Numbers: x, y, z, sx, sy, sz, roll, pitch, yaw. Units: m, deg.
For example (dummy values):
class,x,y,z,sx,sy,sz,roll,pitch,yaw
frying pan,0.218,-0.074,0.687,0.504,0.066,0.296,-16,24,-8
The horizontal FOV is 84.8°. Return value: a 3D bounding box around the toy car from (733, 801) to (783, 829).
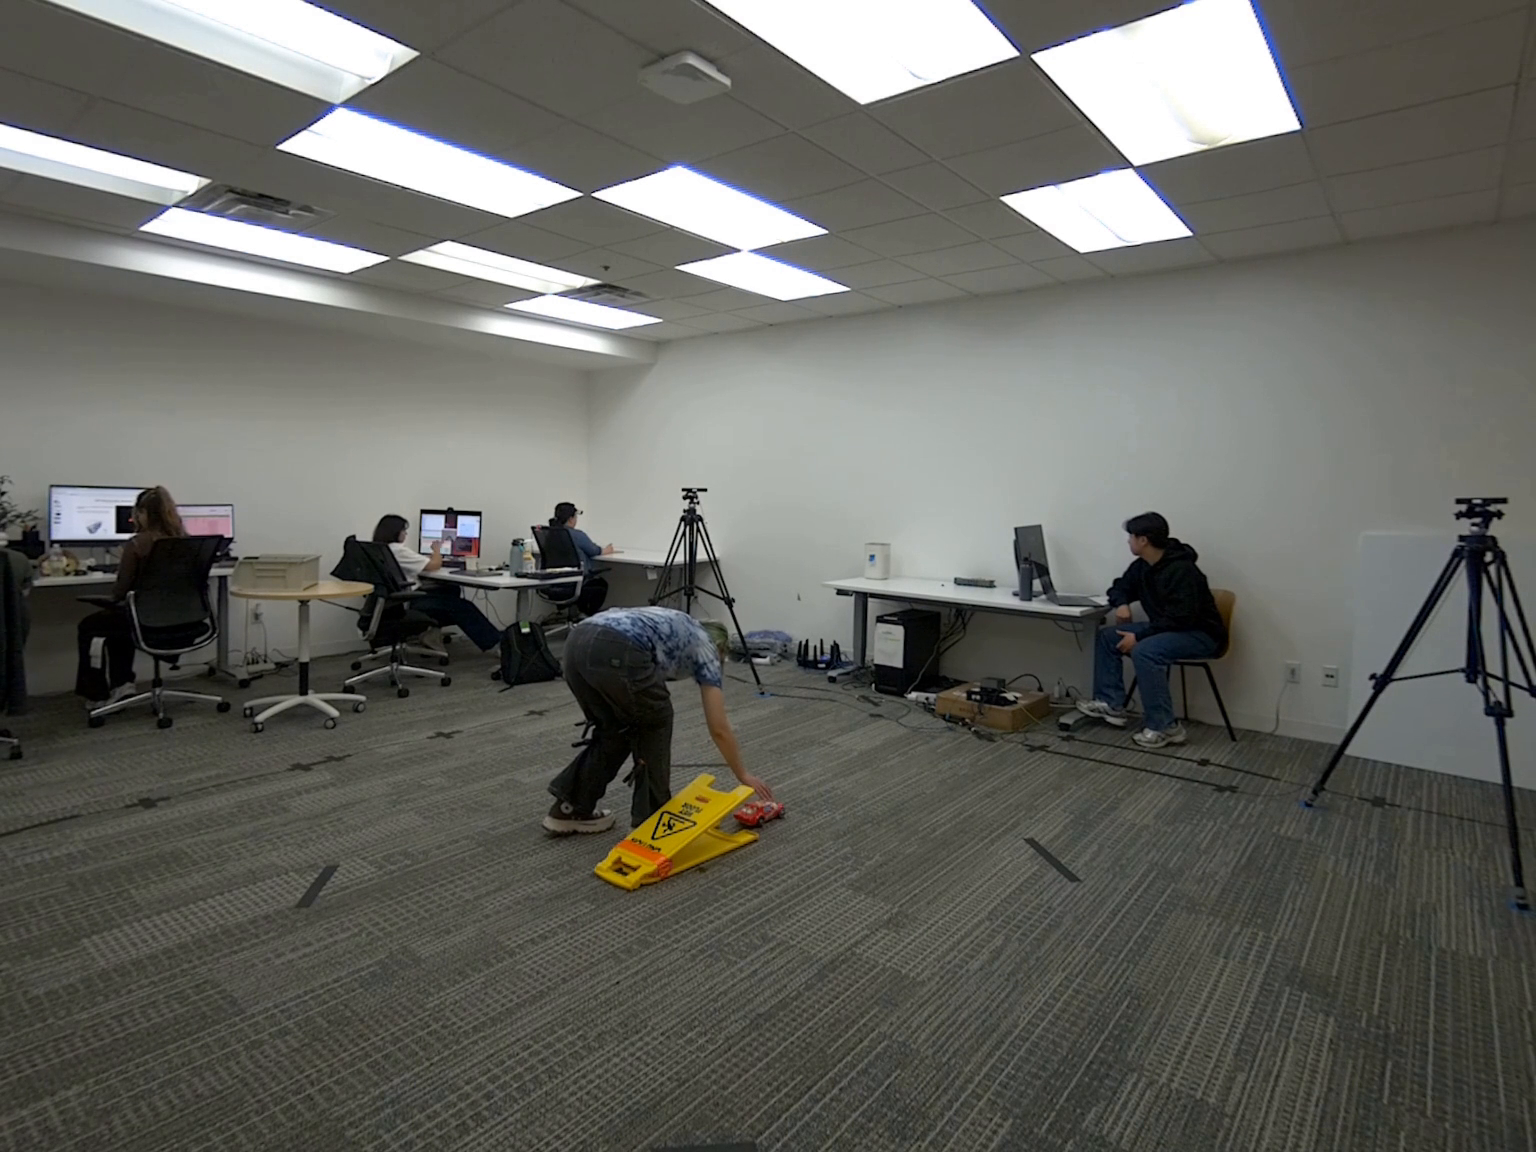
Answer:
class,x,y,z,sx,sy,sz,roll,pitch,yaw
toy car,-0.051,1.001,3.571,0.135,0.083,0.245,5,-4,41
